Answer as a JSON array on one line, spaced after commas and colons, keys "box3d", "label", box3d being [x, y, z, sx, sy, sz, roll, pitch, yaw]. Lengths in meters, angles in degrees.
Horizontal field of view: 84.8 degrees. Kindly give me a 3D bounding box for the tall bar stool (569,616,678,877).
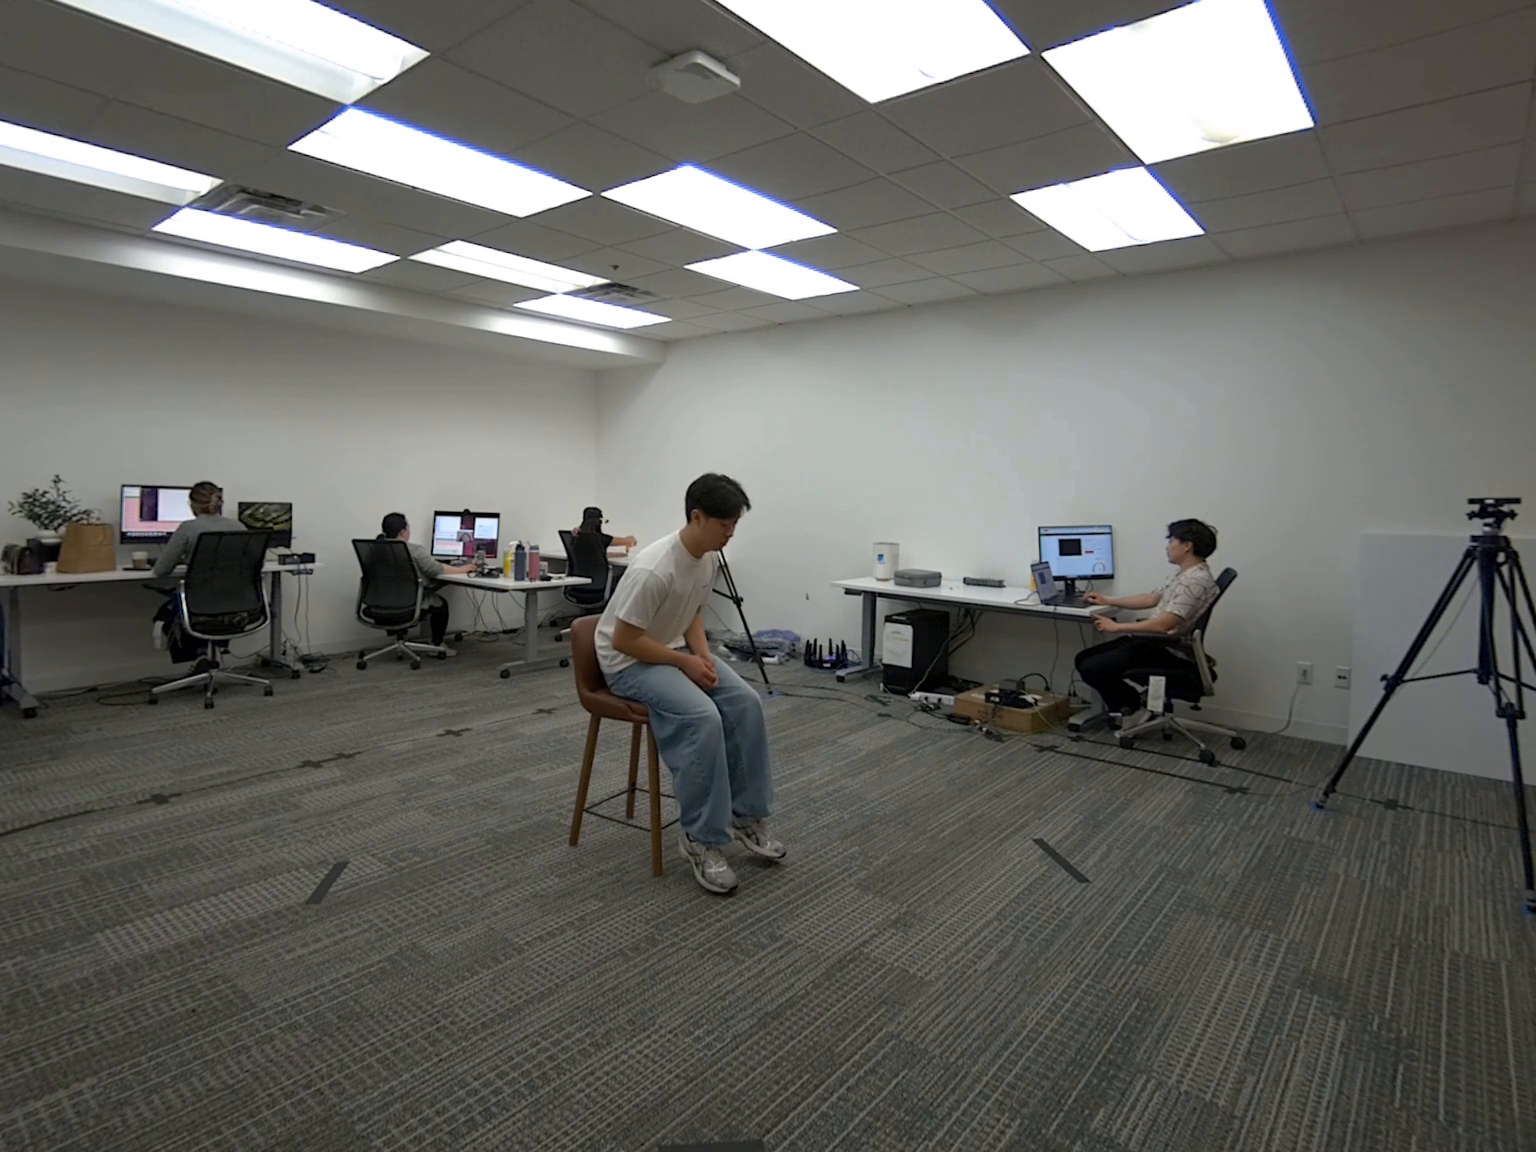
[{"box3d": [-0.501, 0.607, 3.317, 0.481, 0.889, 0.444, 1, 2, 31], "label": "tall bar stool"}]
